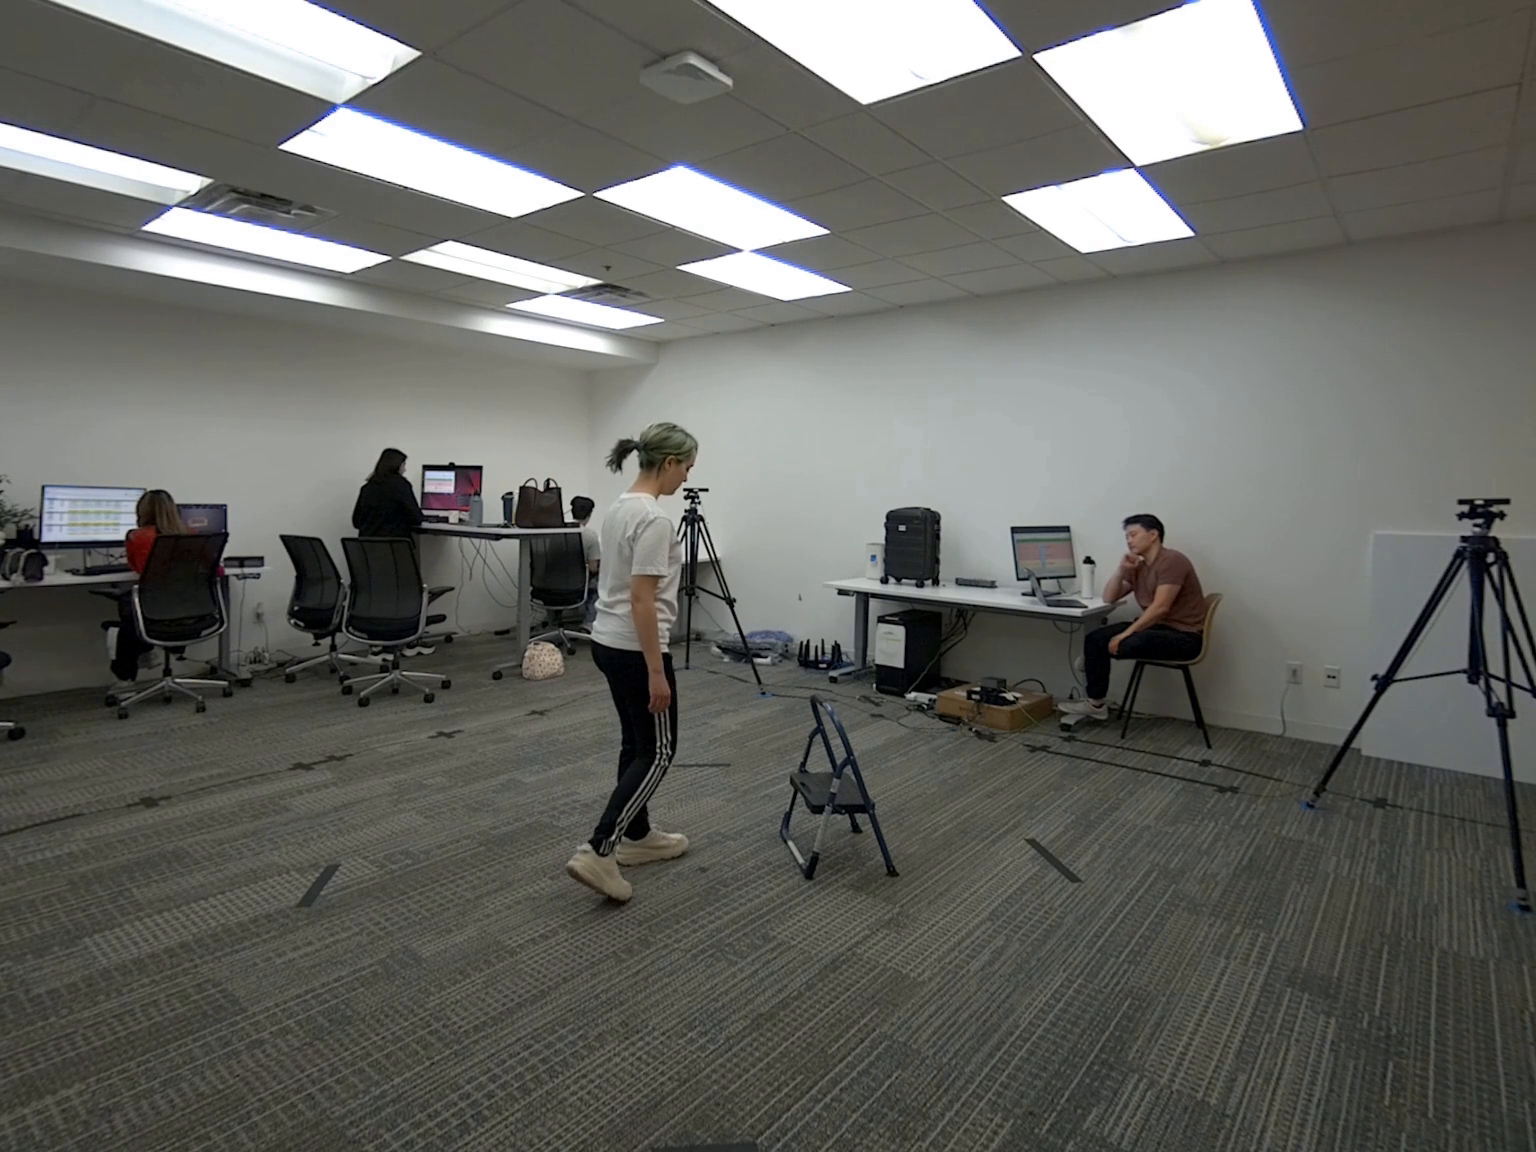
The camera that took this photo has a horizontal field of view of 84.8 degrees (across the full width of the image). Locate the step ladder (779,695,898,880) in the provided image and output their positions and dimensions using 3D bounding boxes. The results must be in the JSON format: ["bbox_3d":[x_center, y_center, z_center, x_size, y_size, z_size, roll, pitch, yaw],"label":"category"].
[{"bbox_3d":[0.258,0.768,3.253,0.345,0.604,0.438,1,4,-13],"label":"step ladder"}]
